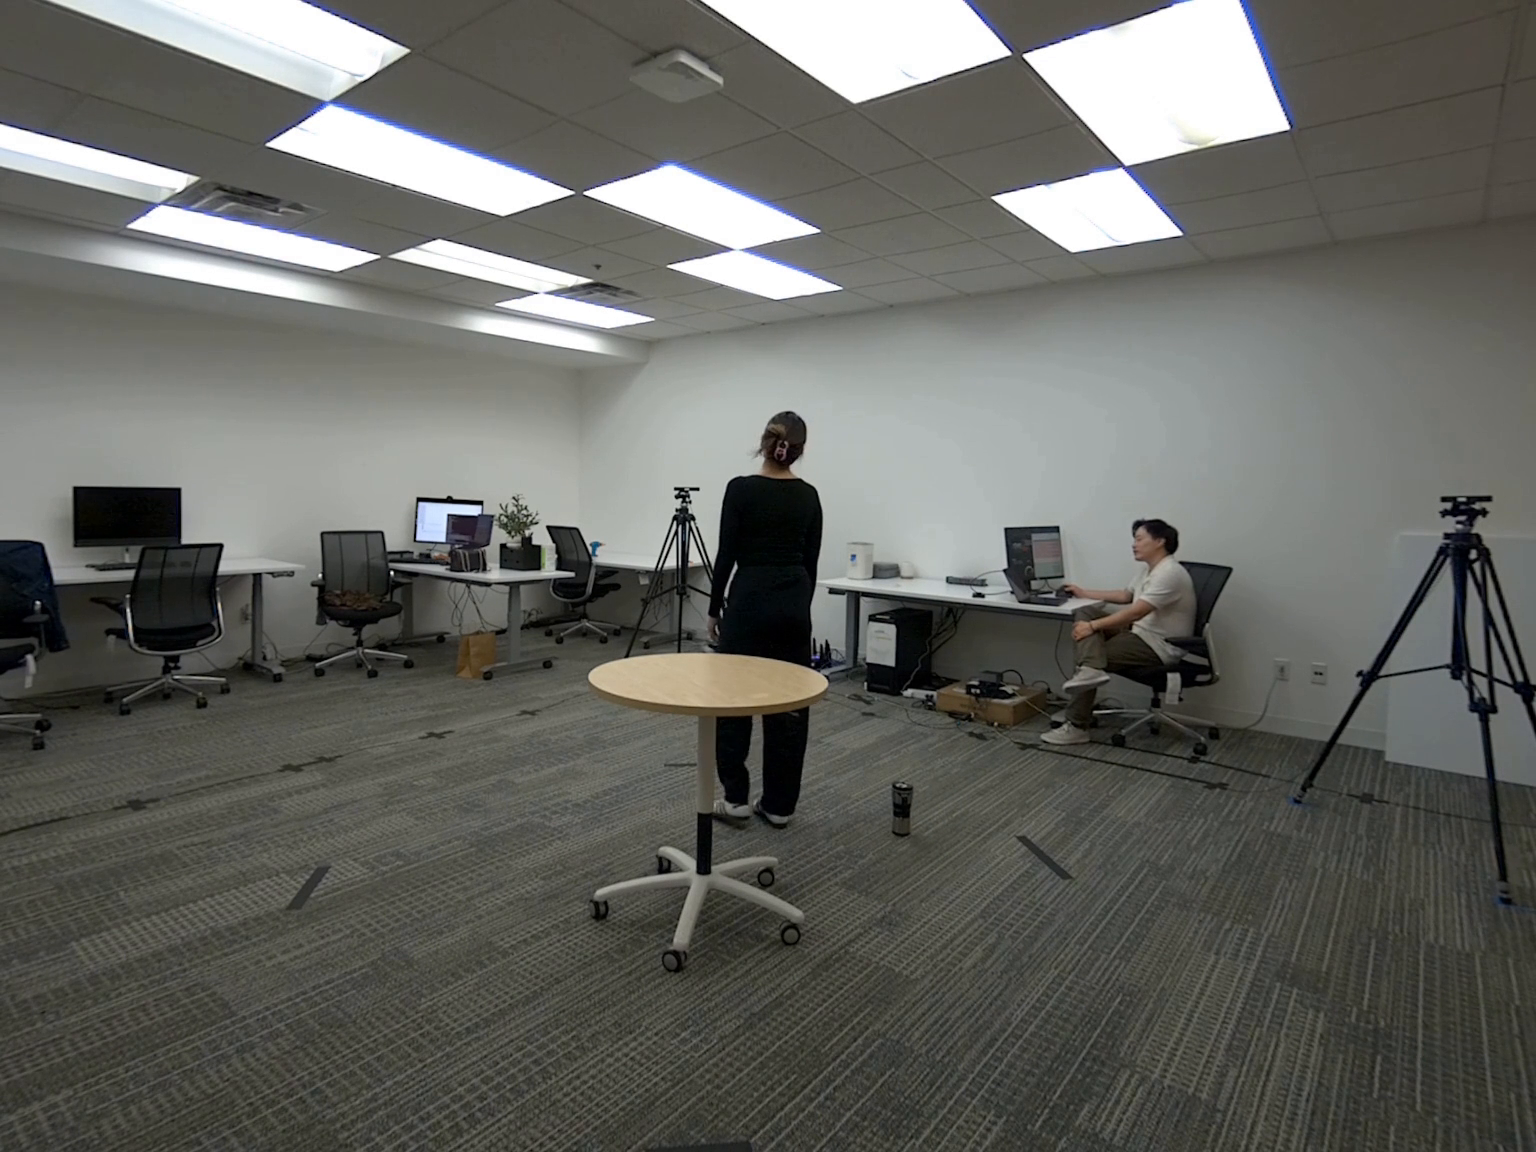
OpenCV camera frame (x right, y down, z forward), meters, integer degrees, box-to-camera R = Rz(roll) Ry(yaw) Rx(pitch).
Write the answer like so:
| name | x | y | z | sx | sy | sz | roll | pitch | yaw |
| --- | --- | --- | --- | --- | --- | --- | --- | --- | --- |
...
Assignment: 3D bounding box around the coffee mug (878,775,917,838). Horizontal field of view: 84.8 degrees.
| name | x | y | z | sx | sy | sz | roll | pitch | yaw |
| --- | --- | --- | --- | --- | --- | --- | --- | --- | --- |
| coffee mug | 0.530 | 0.942 | 3.446 | 0.091 | 0.202 | 0.118 | 8 | 3 | 36 |
